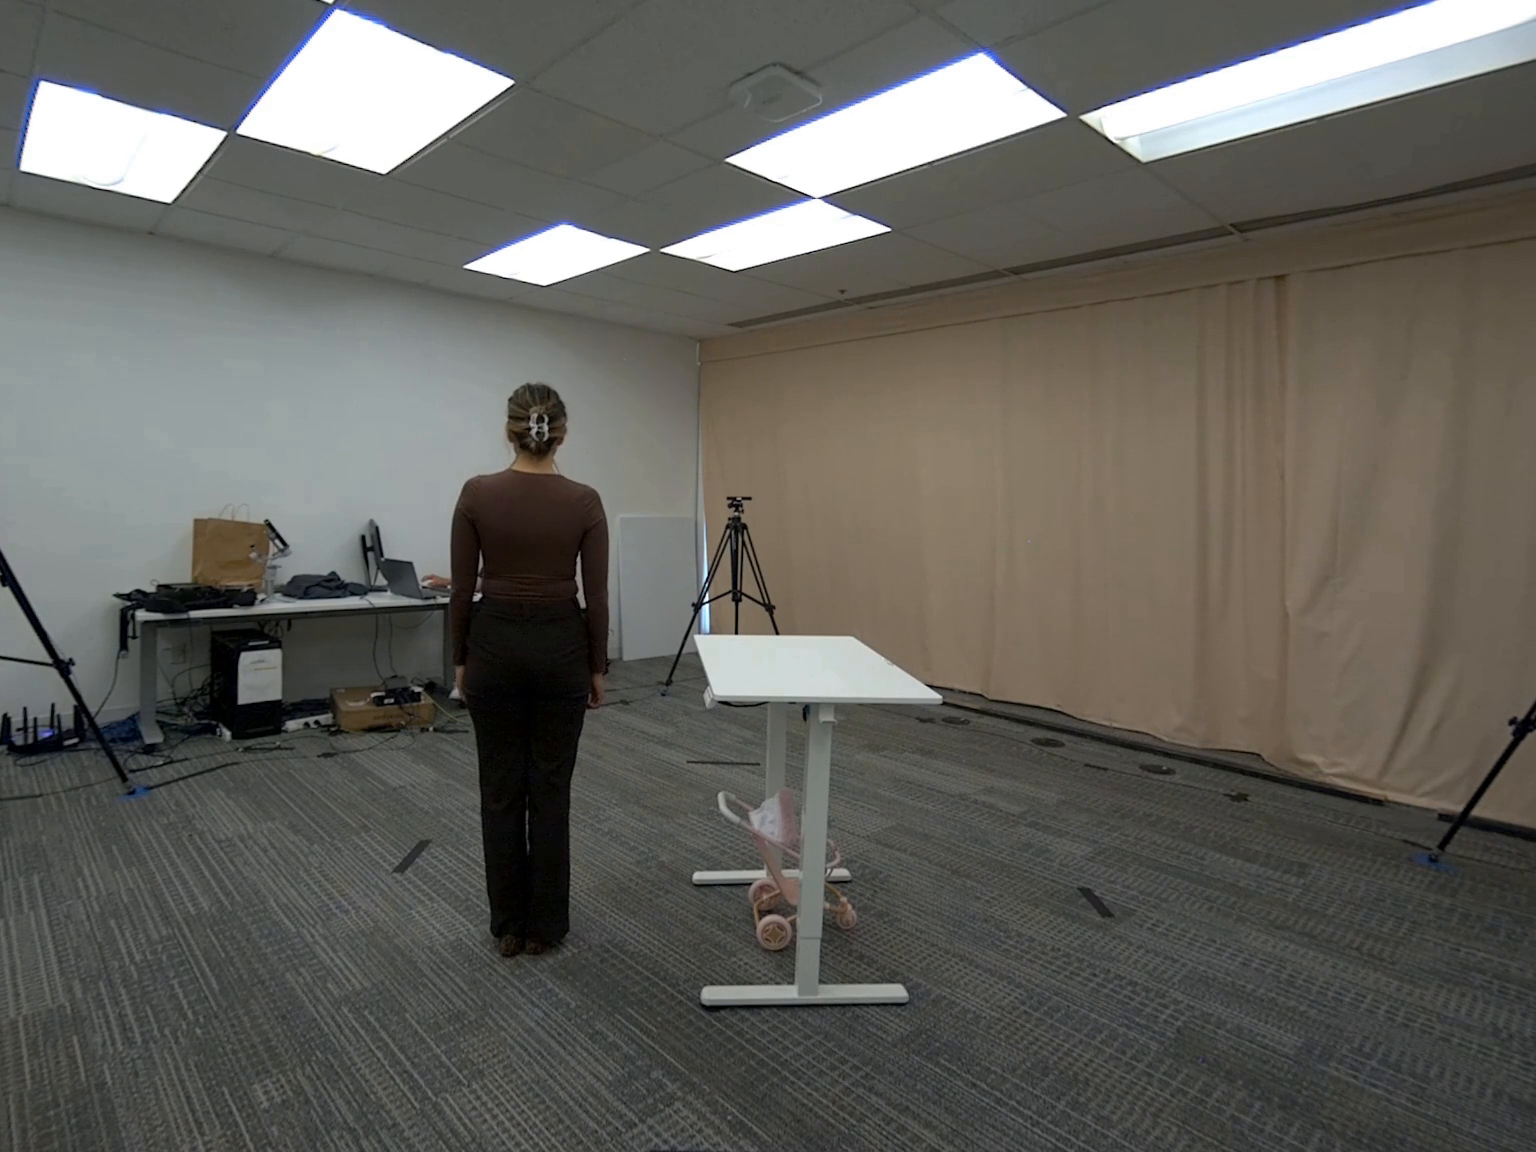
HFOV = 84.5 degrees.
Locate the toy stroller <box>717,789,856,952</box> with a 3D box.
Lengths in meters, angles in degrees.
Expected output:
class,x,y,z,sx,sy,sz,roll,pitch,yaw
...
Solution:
class,x,y,z,sx,sy,sz,roll,pitch,yaw
toy stroller,0.068,0.924,2.708,0.341,0.533,0.282,-15,4,-1
